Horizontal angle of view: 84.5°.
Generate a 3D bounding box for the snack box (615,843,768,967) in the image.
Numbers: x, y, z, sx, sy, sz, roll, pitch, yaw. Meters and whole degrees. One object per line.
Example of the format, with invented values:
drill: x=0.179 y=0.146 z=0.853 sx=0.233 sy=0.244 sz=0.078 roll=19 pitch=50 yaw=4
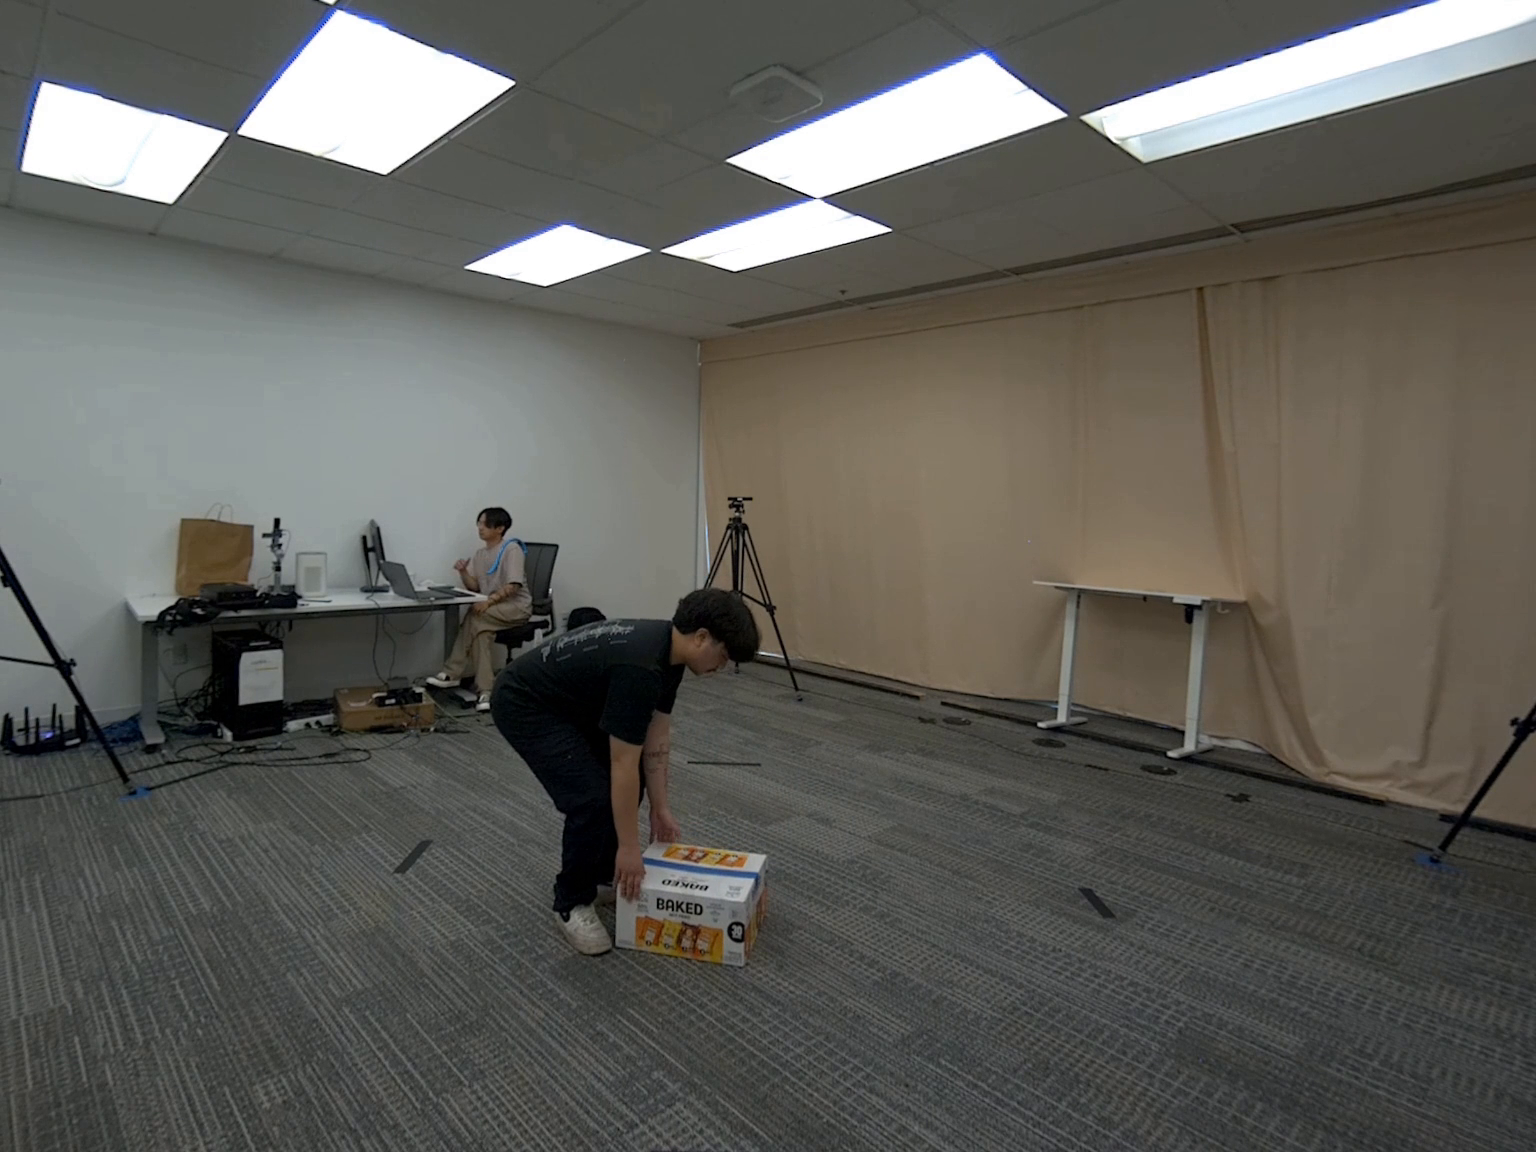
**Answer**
snack box: x=-0.242 y=1.039 z=2.693 sx=0.409 sy=0.205 sz=0.337 roll=2 pitch=4 yaw=12
